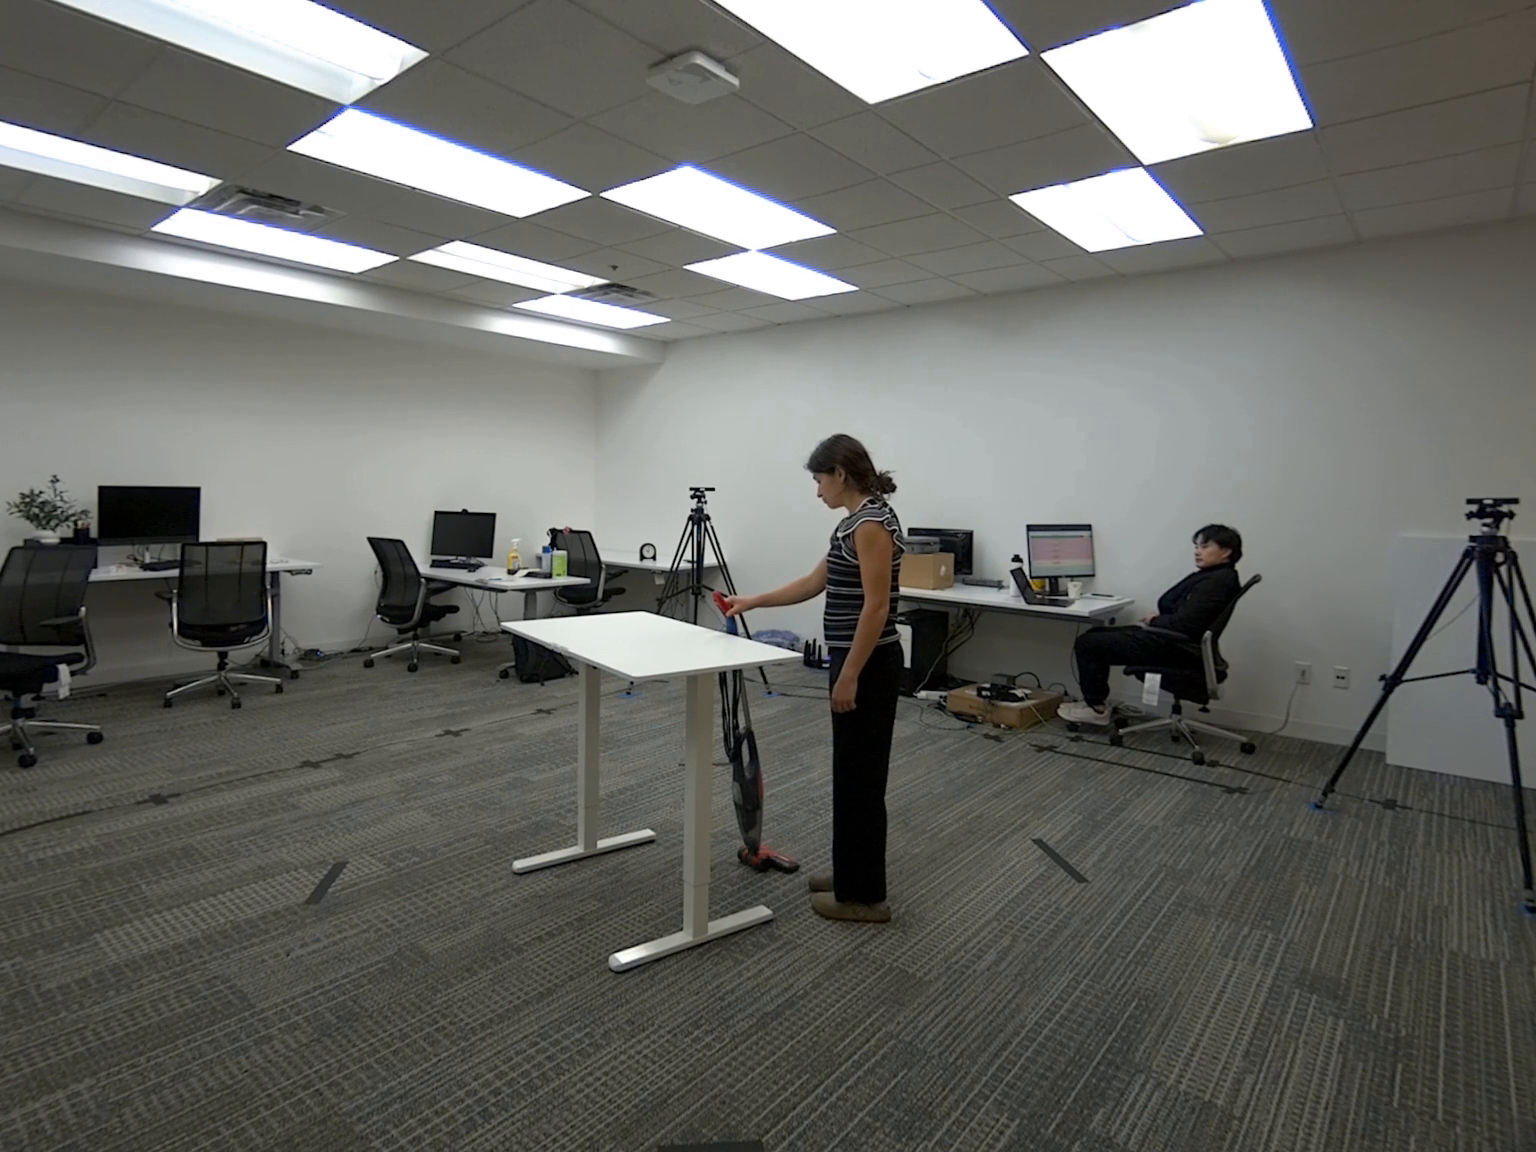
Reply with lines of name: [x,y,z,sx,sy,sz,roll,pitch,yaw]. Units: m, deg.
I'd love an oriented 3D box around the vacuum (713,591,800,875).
vacuum: [-0.109,0.568,3.074,0.141,1.037,0.261,-18,14,-39]
